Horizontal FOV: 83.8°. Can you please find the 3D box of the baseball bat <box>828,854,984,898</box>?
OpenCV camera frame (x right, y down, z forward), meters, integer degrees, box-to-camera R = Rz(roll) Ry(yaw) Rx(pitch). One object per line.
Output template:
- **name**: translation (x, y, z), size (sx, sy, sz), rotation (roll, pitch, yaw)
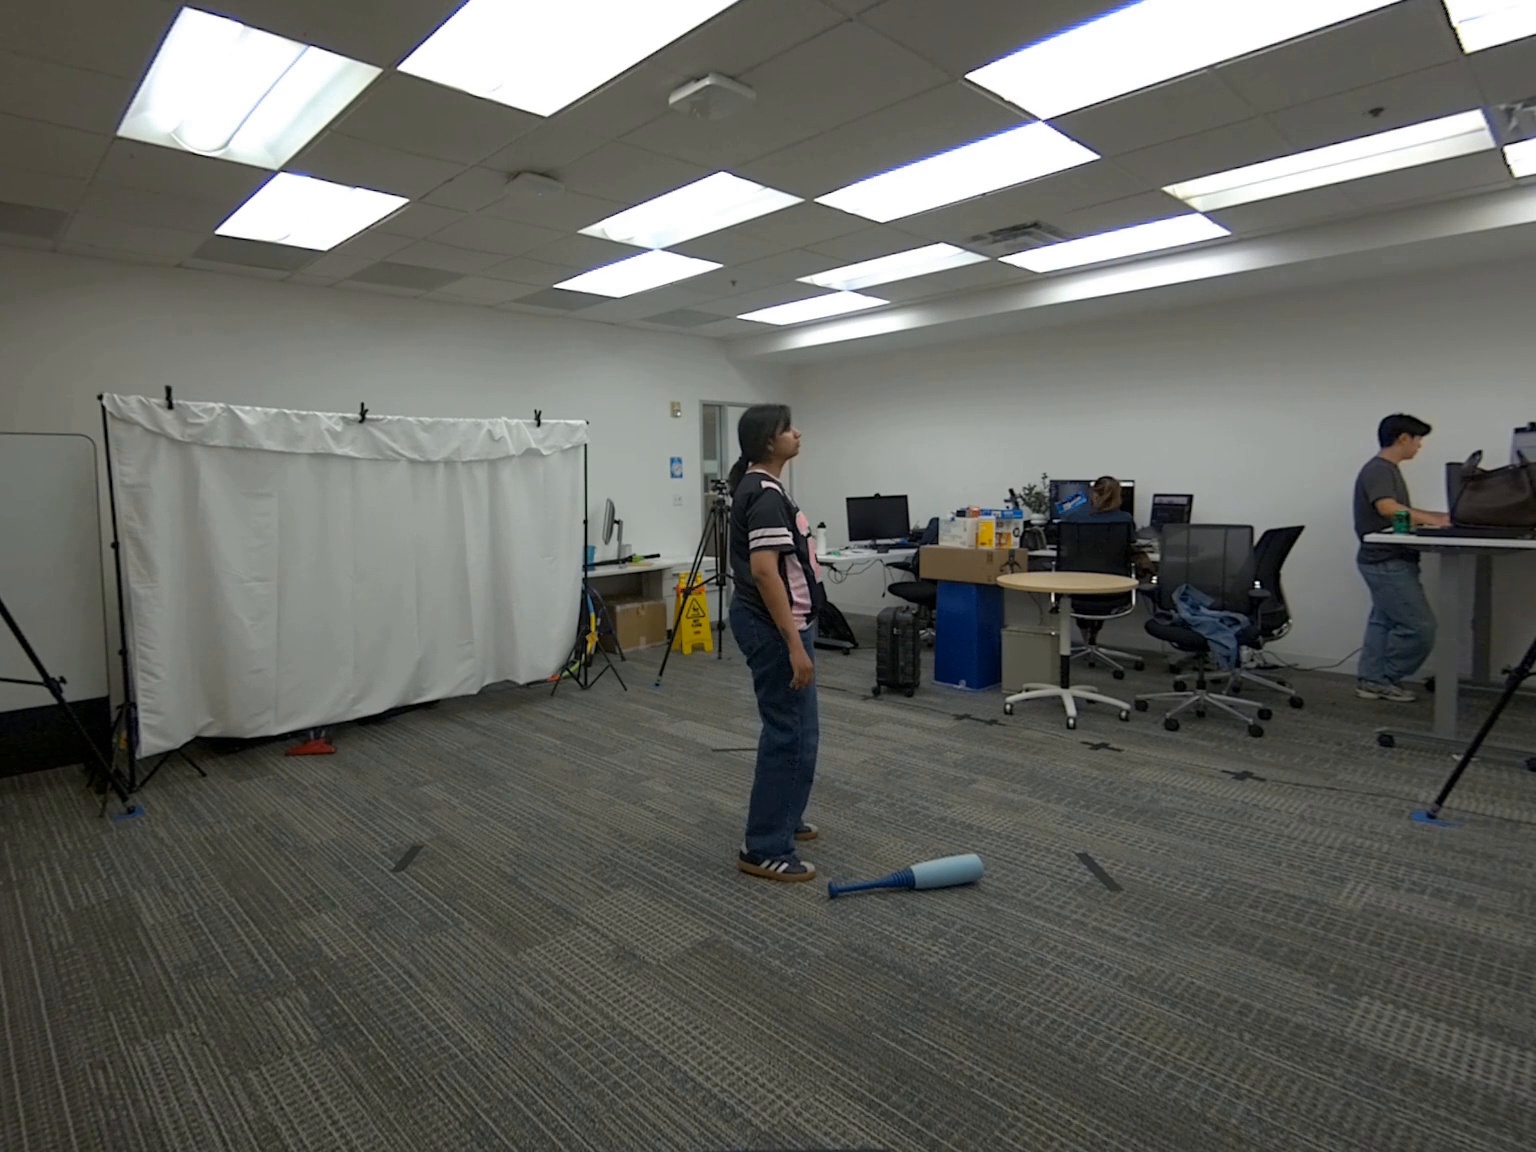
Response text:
- **baseball bat**: translation (0.473, 1.028, 2.890), size (0.538, 0.088, 0.090), rotation (-5, 5, -9)
